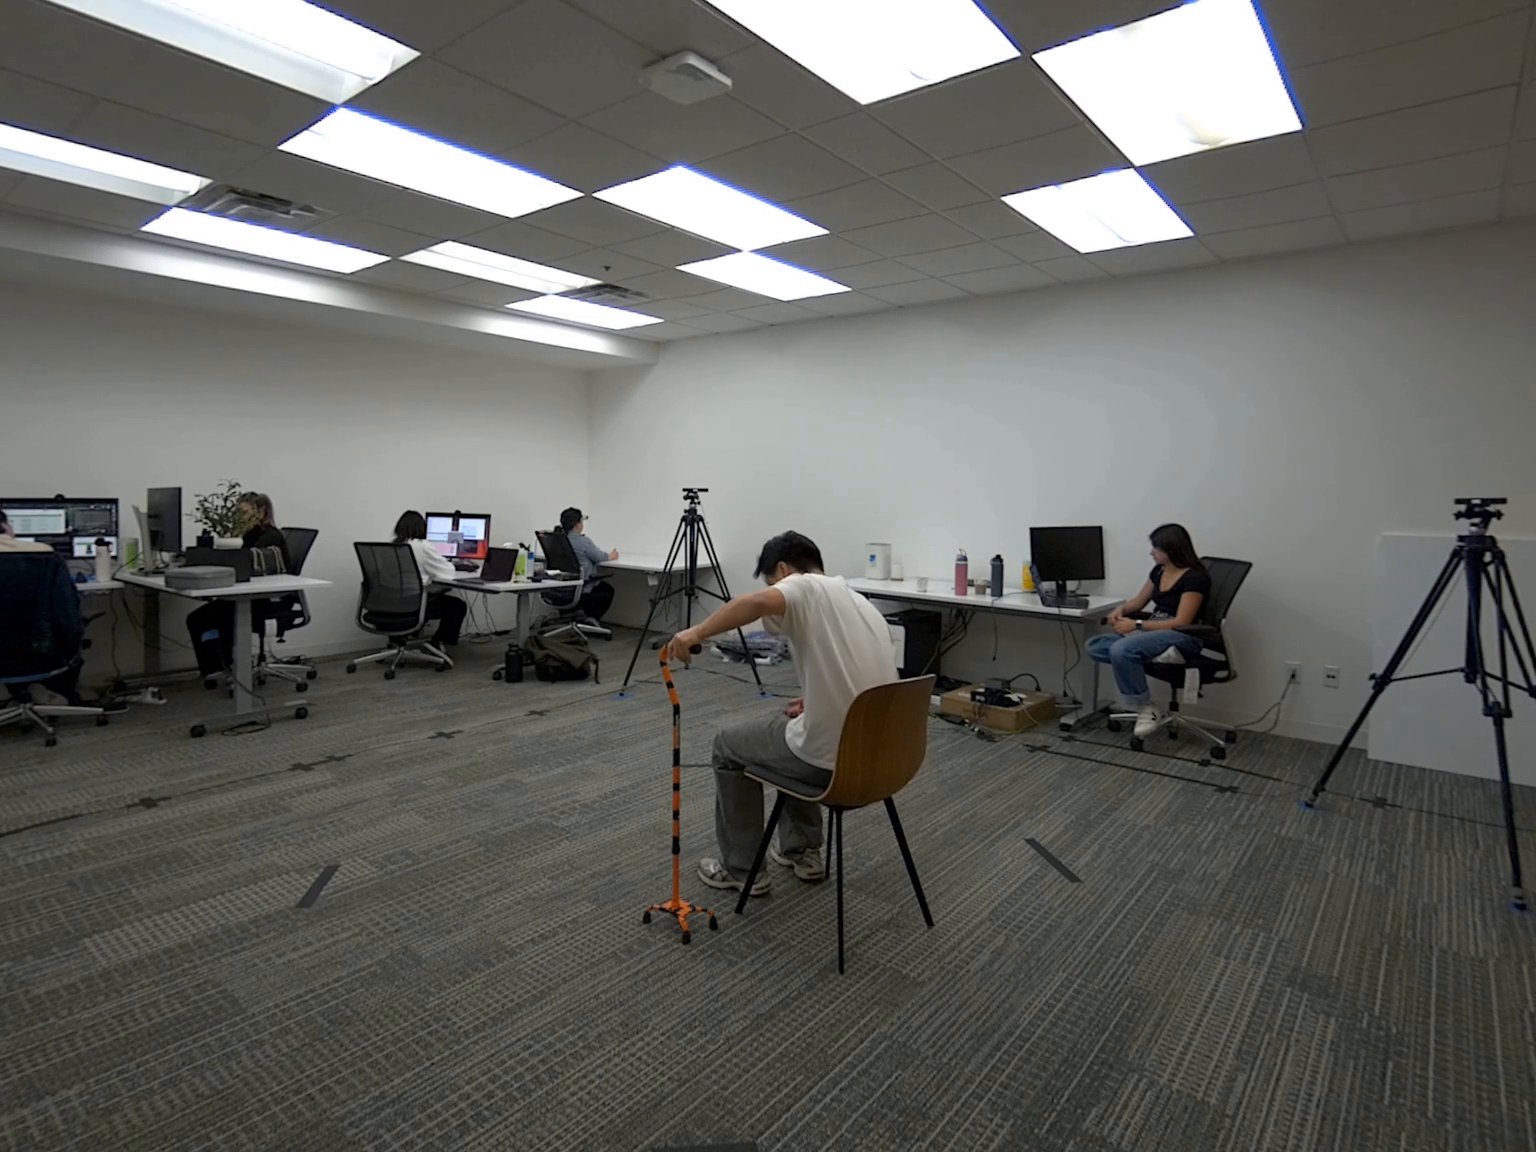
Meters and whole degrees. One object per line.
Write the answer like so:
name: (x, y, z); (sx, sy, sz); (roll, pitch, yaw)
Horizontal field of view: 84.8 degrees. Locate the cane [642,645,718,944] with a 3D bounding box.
cane: (-0.286, 0.649, 2.688); (0.213, 0.905, 0.147); (2, 4, 43)
